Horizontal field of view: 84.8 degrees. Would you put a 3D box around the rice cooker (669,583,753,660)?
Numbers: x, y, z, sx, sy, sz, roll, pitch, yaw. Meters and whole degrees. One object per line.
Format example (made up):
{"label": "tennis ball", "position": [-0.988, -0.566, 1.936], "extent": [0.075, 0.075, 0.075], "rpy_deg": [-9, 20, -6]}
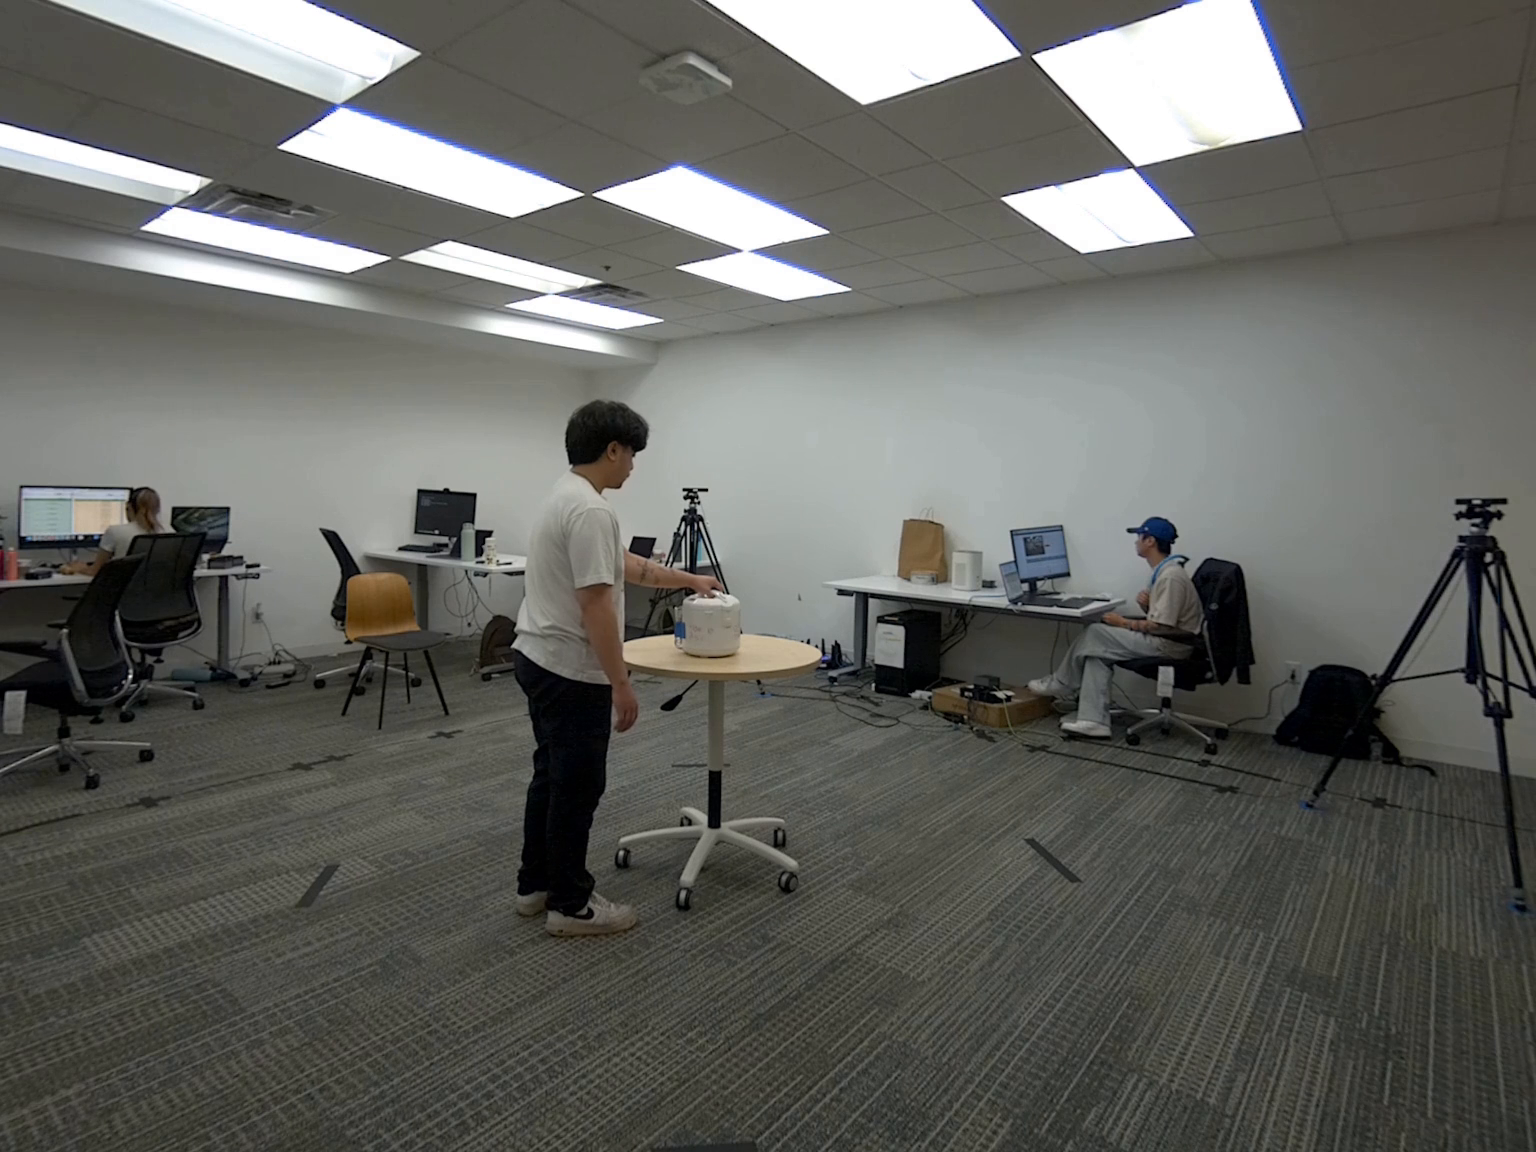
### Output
{"label": "rice cooker", "position": [-0.211, 0.158, 3.070], "extent": [0.211, 0.232, 0.228], "rpy_deg": [-3, 5, -35]}
